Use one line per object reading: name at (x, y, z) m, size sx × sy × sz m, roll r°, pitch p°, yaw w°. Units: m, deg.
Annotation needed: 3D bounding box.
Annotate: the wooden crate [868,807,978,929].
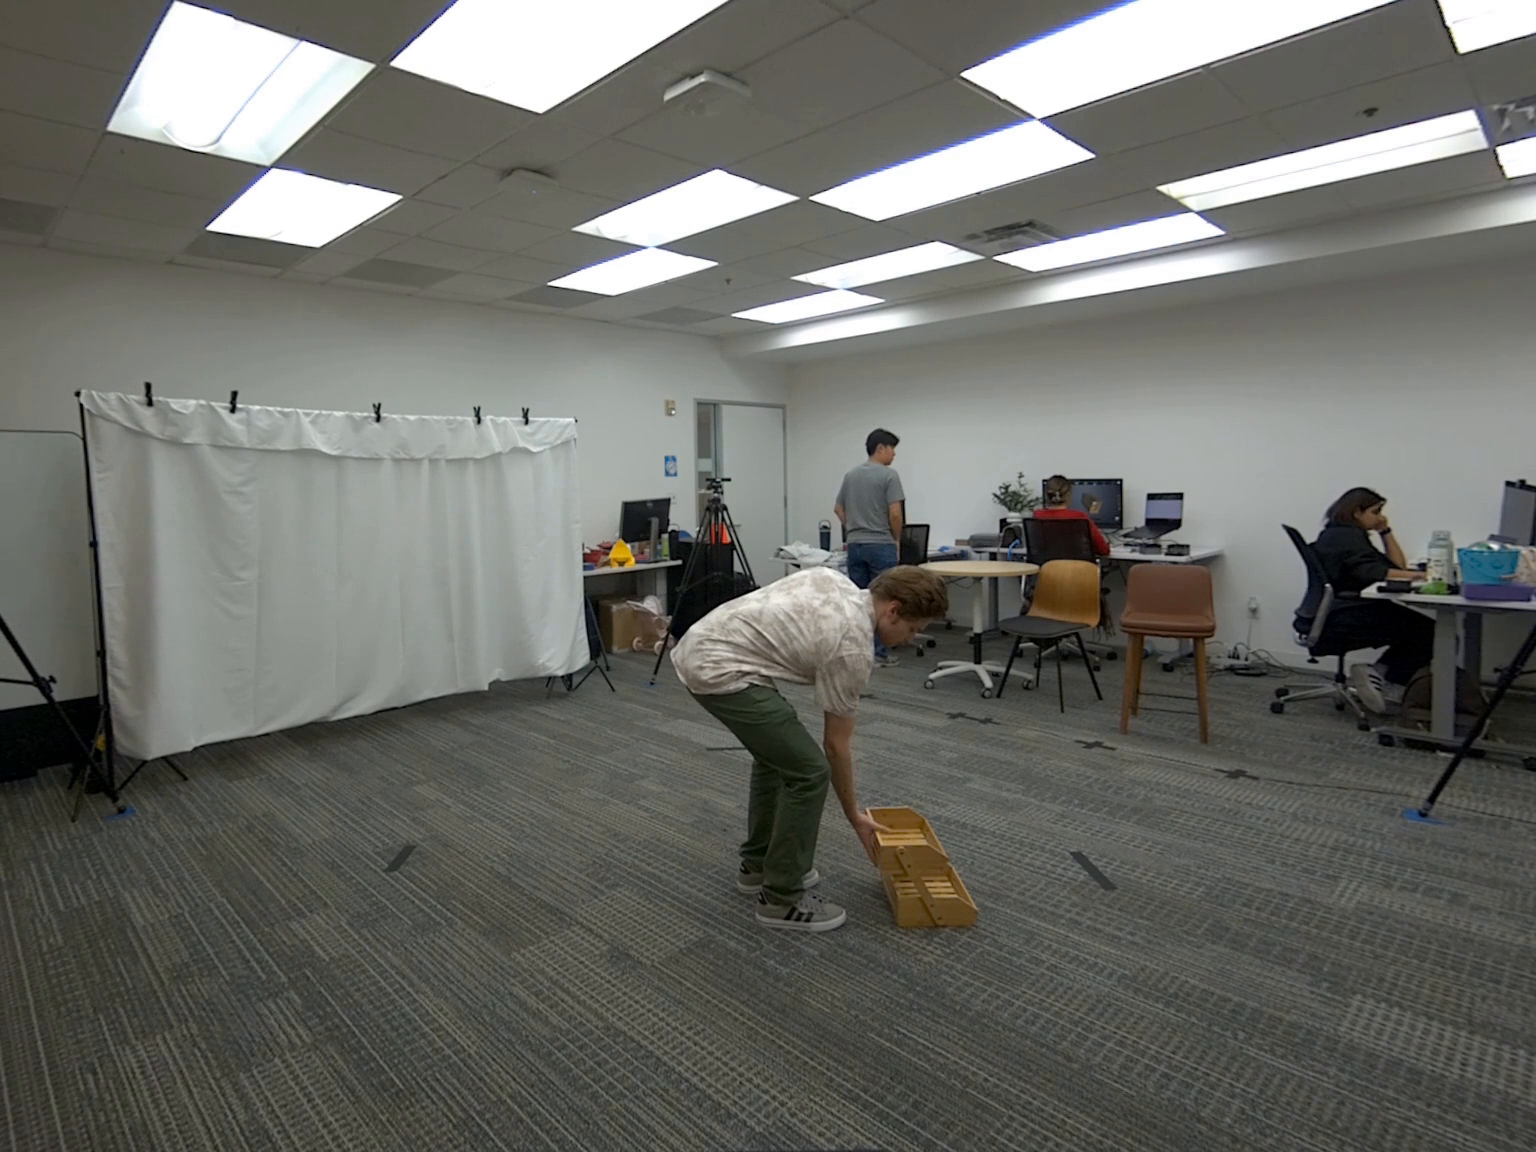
wooden crate at (0.499, 0.933, 2.780) m, size 0.302 × 0.272 × 0.326 m, roll -2°, pitch 5°, yaw -1°
